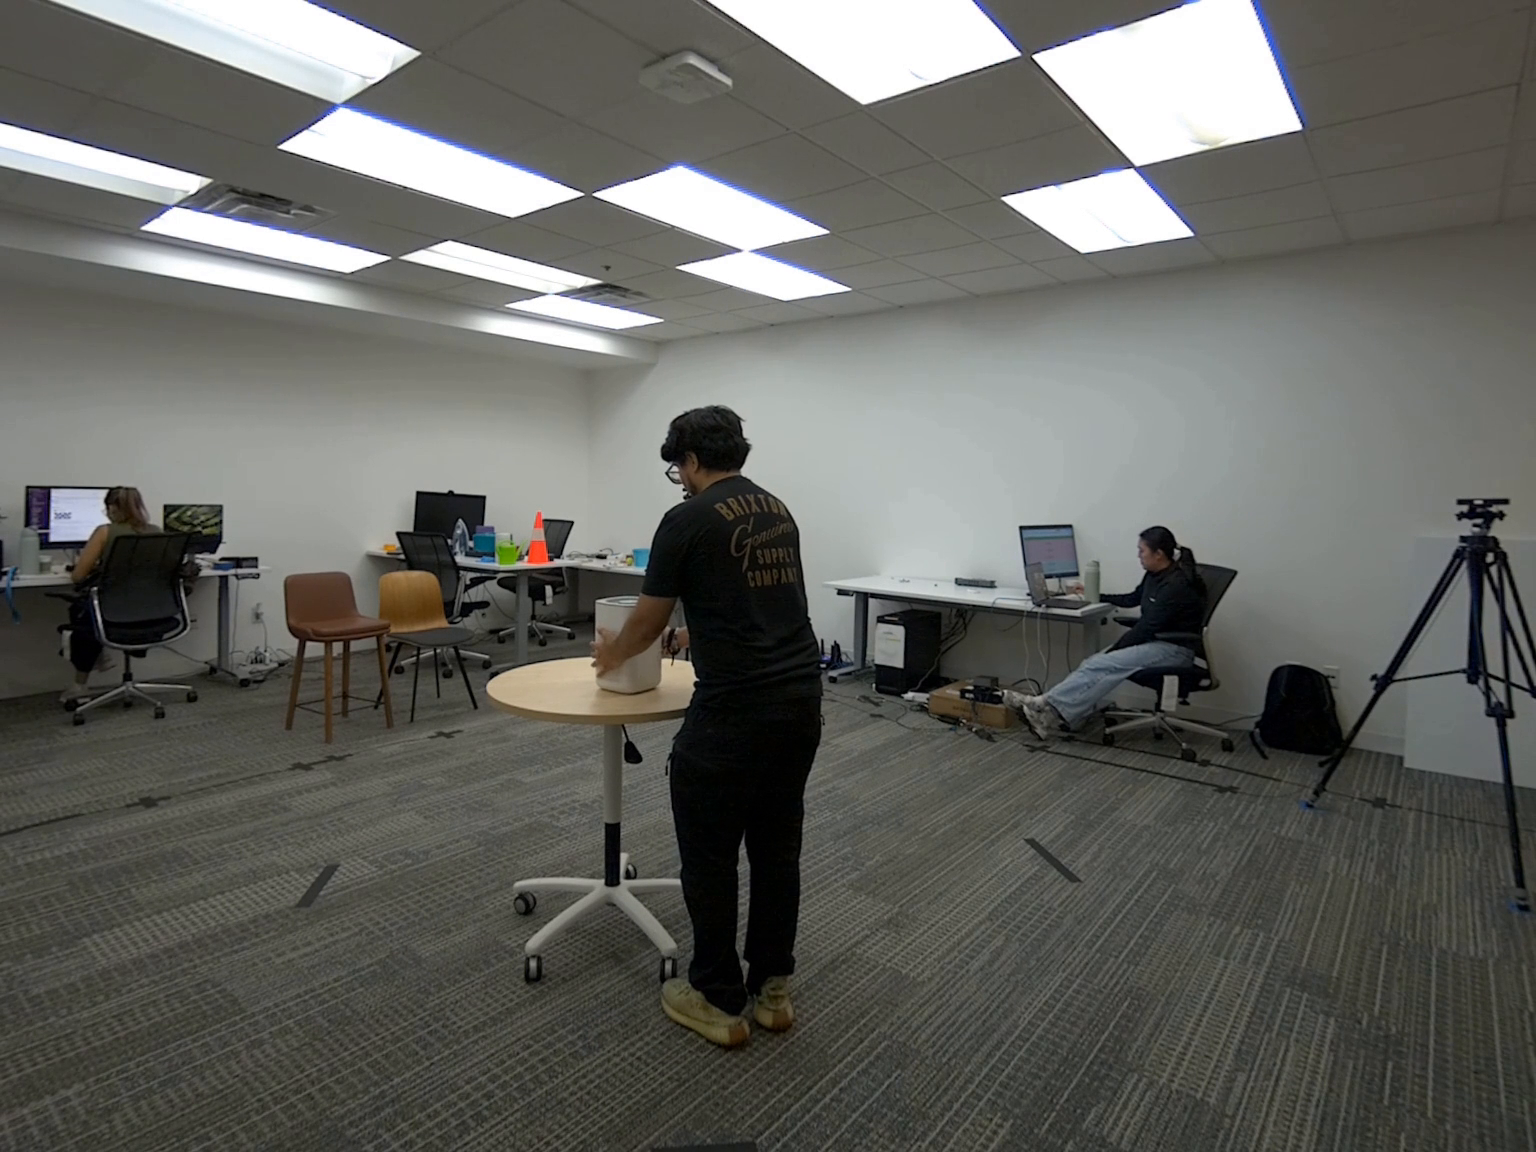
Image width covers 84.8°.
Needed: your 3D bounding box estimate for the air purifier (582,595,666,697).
[{"bbox_3d":[-0.439,0.205,2.562,0.179,0.261,0.163,1,5,38],"label":"air purifier"}]
